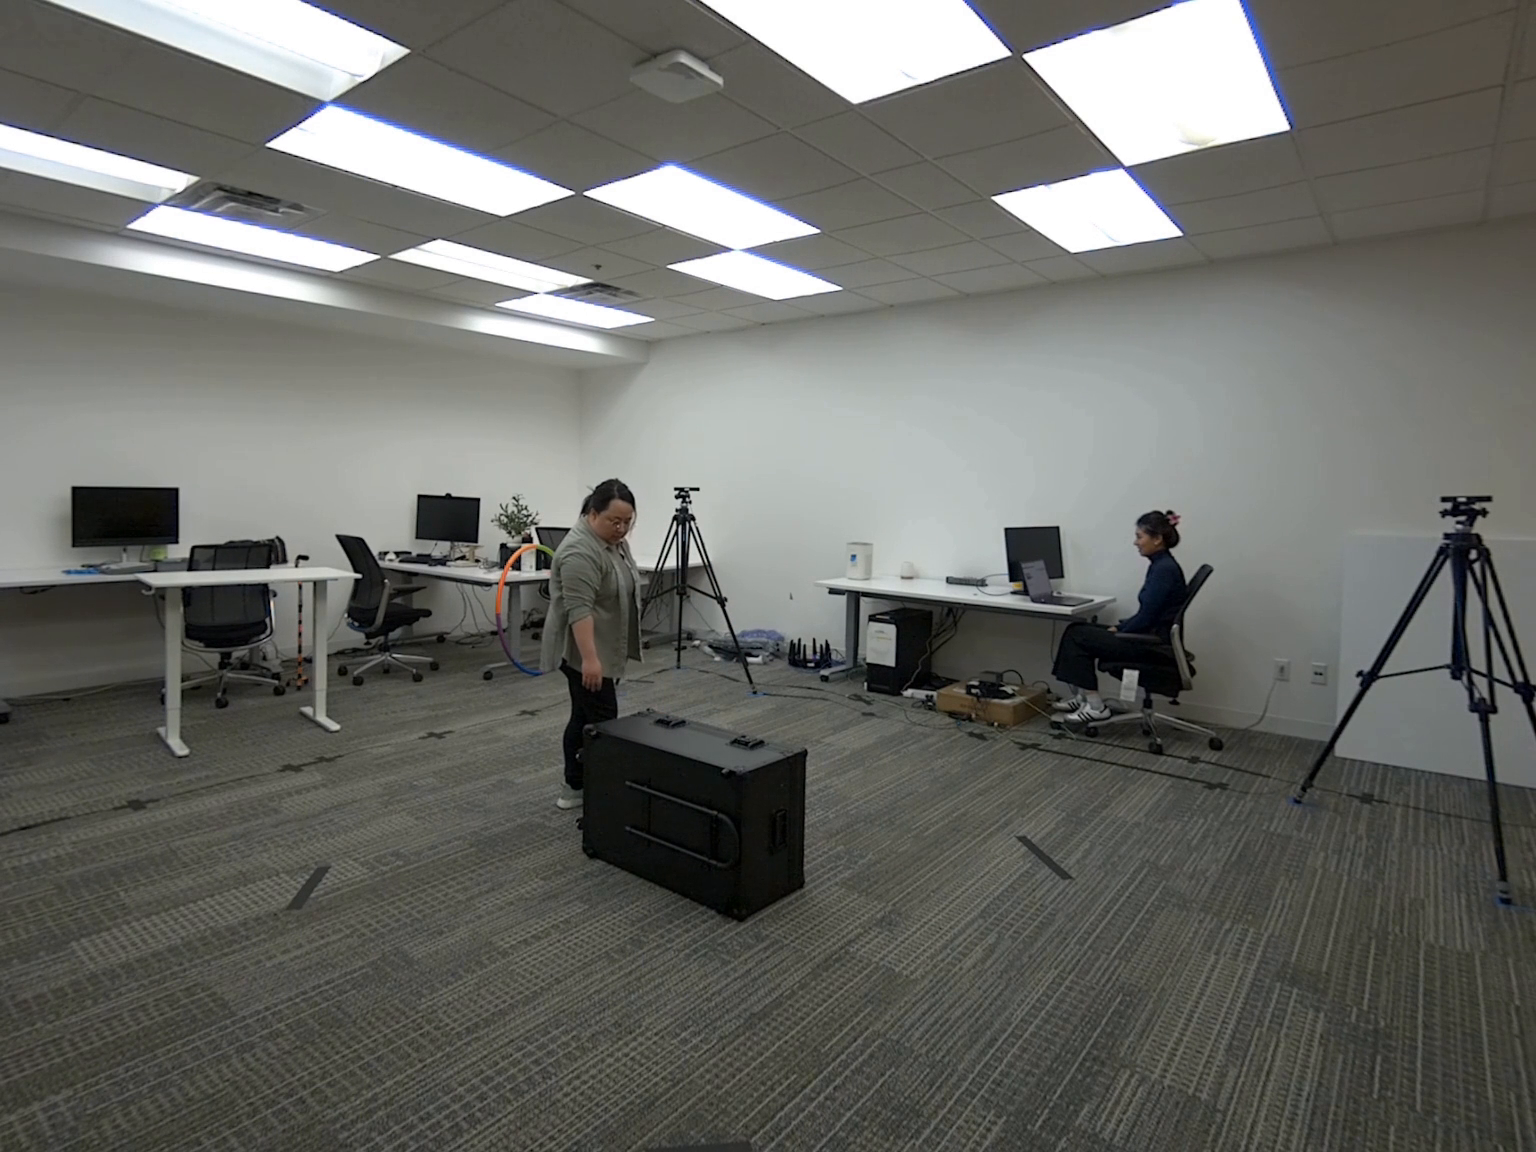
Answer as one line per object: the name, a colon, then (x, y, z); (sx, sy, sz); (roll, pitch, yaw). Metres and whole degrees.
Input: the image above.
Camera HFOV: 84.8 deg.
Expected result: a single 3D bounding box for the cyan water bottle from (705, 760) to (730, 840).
cyan water bottle: (-0.205, 0.897, 3.380); (0.092, 0.283, 0.092); (1, 1, -2)
